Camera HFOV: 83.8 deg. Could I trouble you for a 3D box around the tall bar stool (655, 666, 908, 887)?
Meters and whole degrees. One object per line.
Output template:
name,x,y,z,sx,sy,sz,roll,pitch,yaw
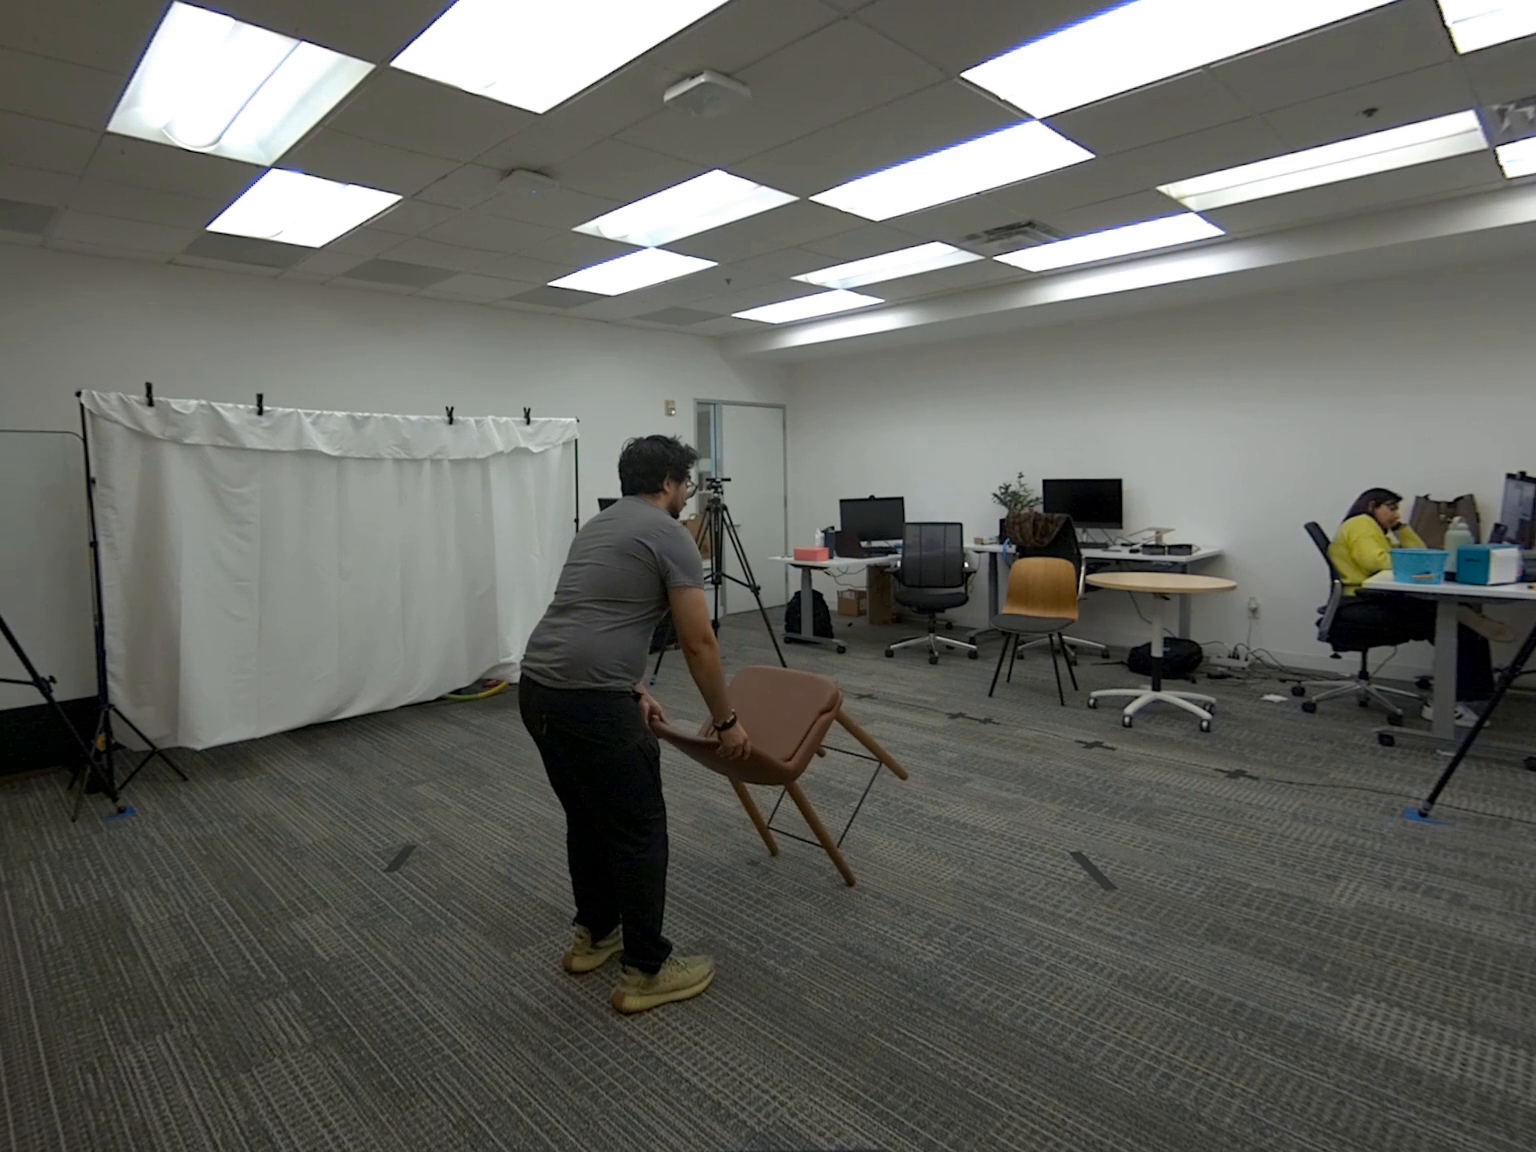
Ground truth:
tall bar stool,0.053,0.601,2.917,0.471,0.470,0.858,5,-38,44
